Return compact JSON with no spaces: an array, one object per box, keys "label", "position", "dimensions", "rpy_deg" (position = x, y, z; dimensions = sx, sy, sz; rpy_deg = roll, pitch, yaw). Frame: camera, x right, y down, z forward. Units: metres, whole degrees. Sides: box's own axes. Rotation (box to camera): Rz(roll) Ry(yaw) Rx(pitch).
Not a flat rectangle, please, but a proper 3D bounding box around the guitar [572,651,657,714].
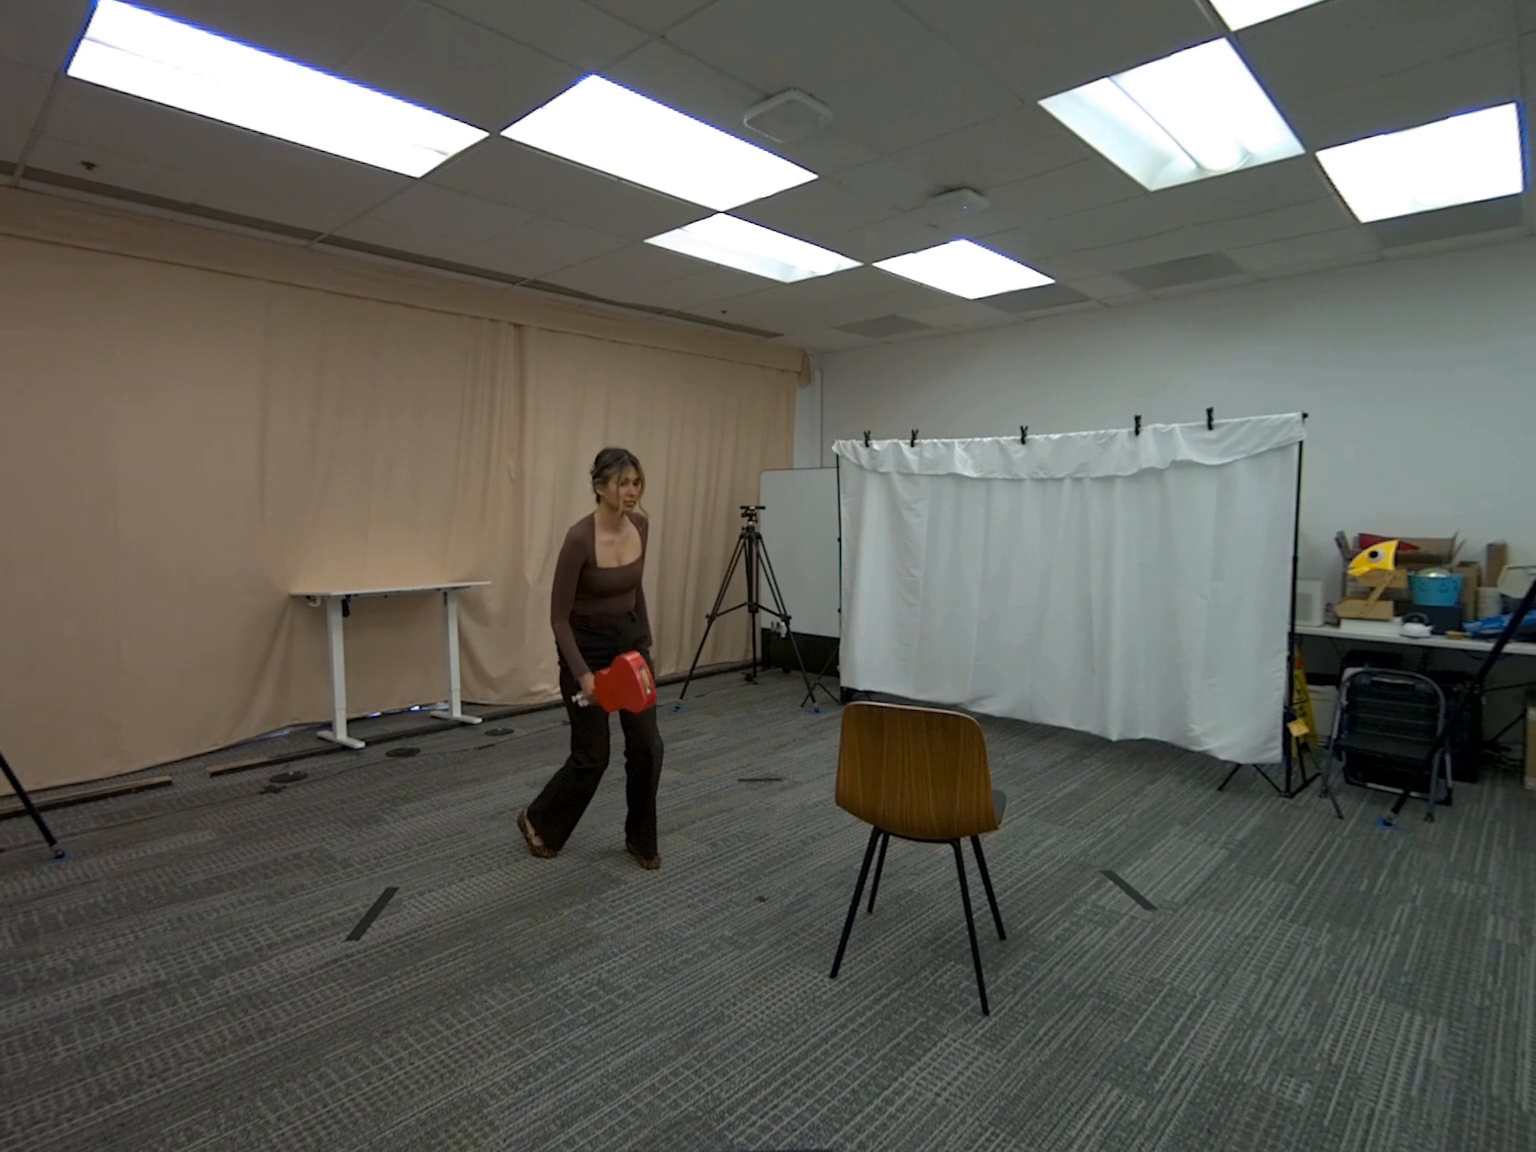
[{"label":"guitar","position":[-0.552,0.423,2.926],"dimensions":[0.069,0.195,0.505],"rpy_deg":[-16,-14,-44]}]
